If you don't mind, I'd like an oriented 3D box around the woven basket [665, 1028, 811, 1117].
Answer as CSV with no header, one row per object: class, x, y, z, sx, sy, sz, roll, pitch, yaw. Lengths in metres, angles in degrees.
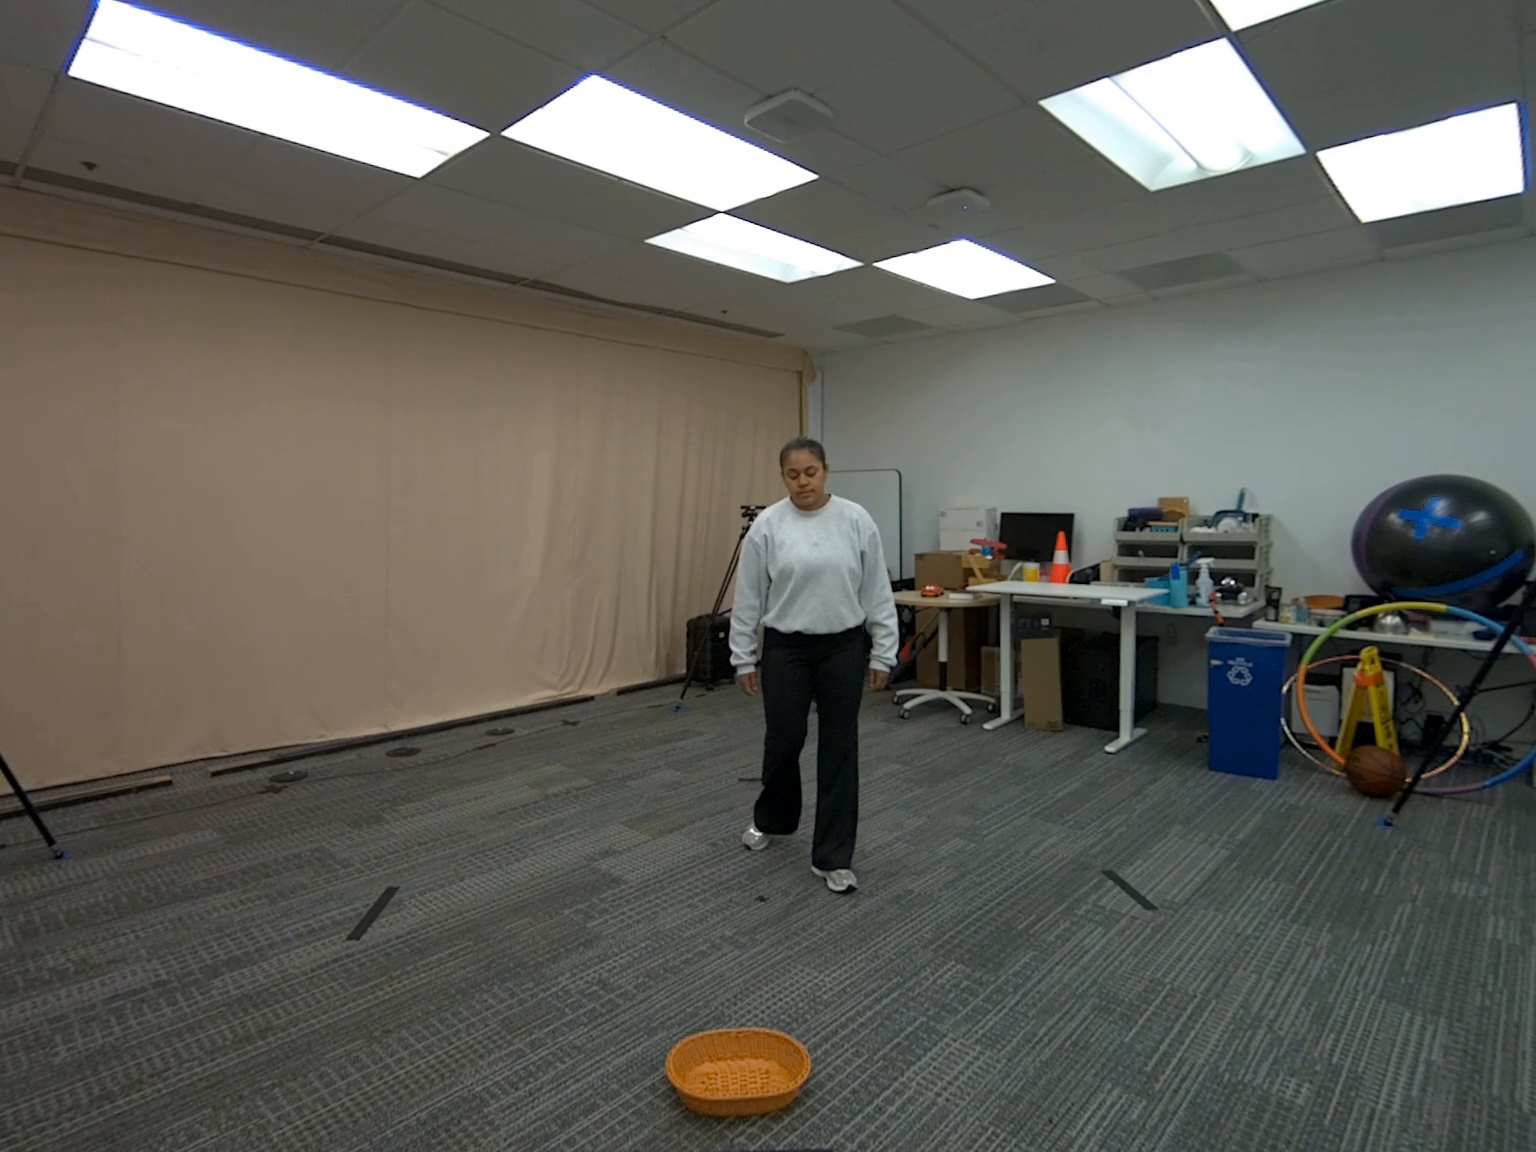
woven basket,-0.069,1.191,2.003,0.348,0.073,0.255,0,4,-7
